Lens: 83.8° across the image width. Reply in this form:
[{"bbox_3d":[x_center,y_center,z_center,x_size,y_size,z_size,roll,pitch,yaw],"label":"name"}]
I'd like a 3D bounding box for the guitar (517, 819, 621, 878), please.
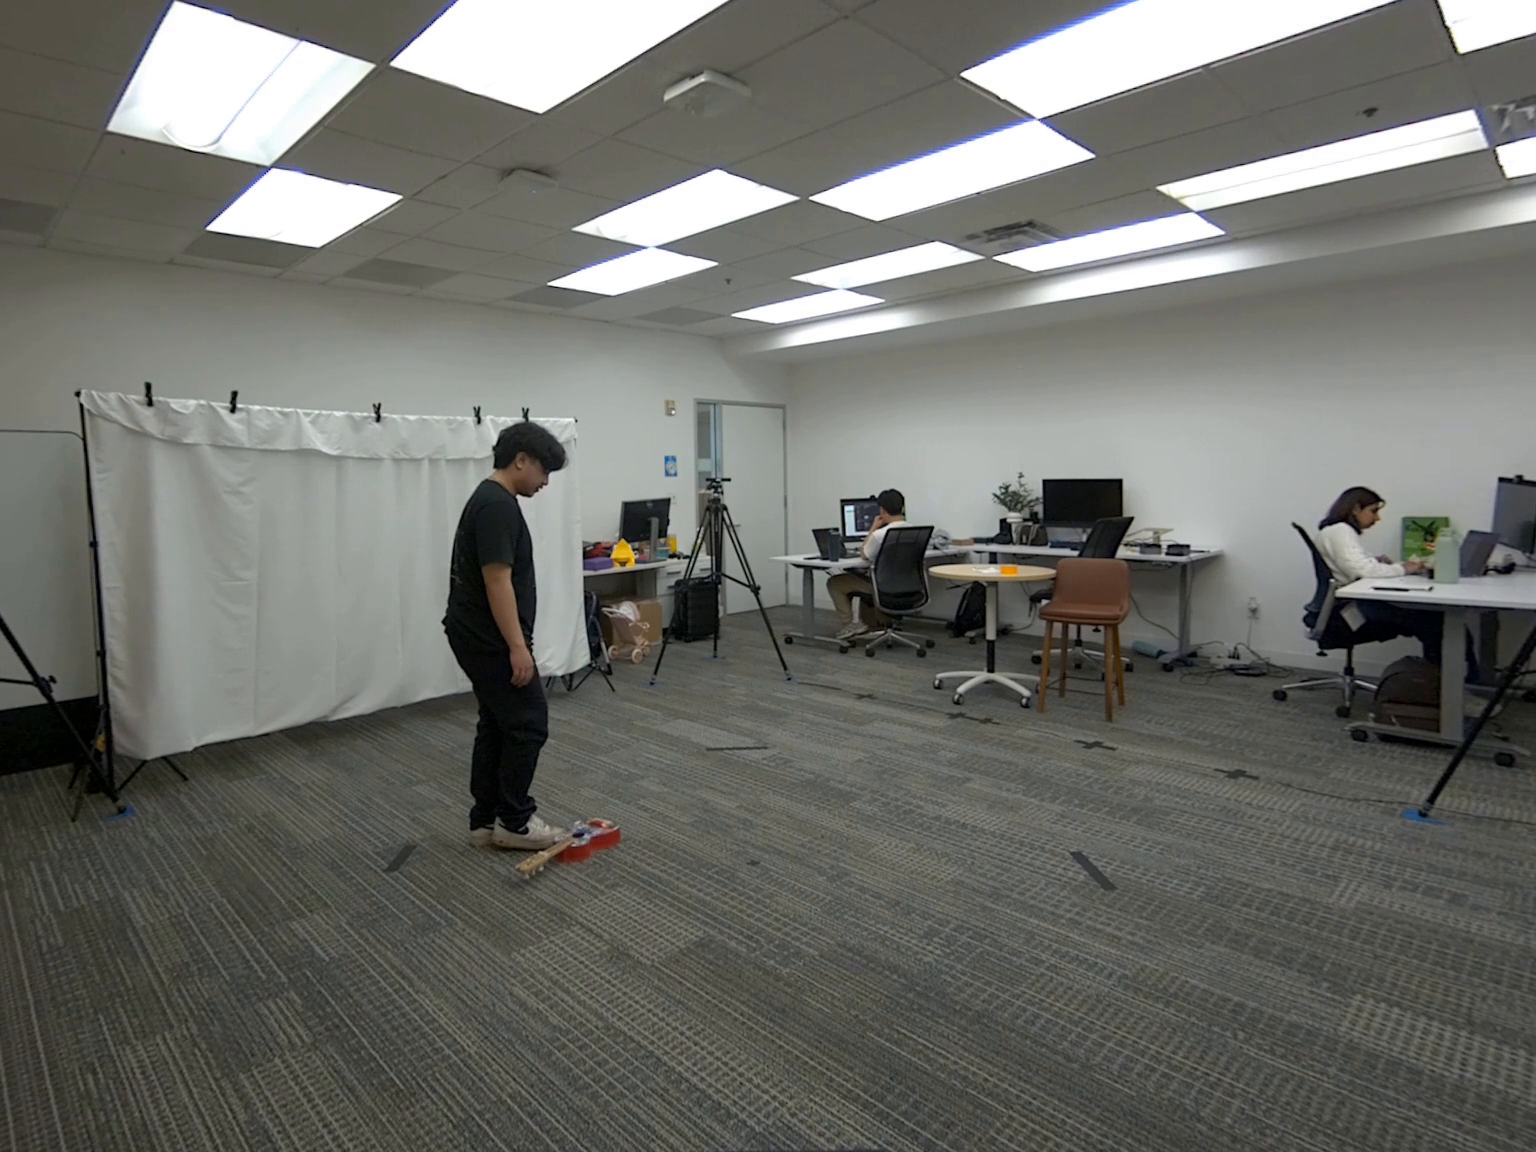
[{"bbox_3d":[-0.771,1.012,3.178,0.198,0.070,0.486,3,8,36],"label":"guitar"}]
